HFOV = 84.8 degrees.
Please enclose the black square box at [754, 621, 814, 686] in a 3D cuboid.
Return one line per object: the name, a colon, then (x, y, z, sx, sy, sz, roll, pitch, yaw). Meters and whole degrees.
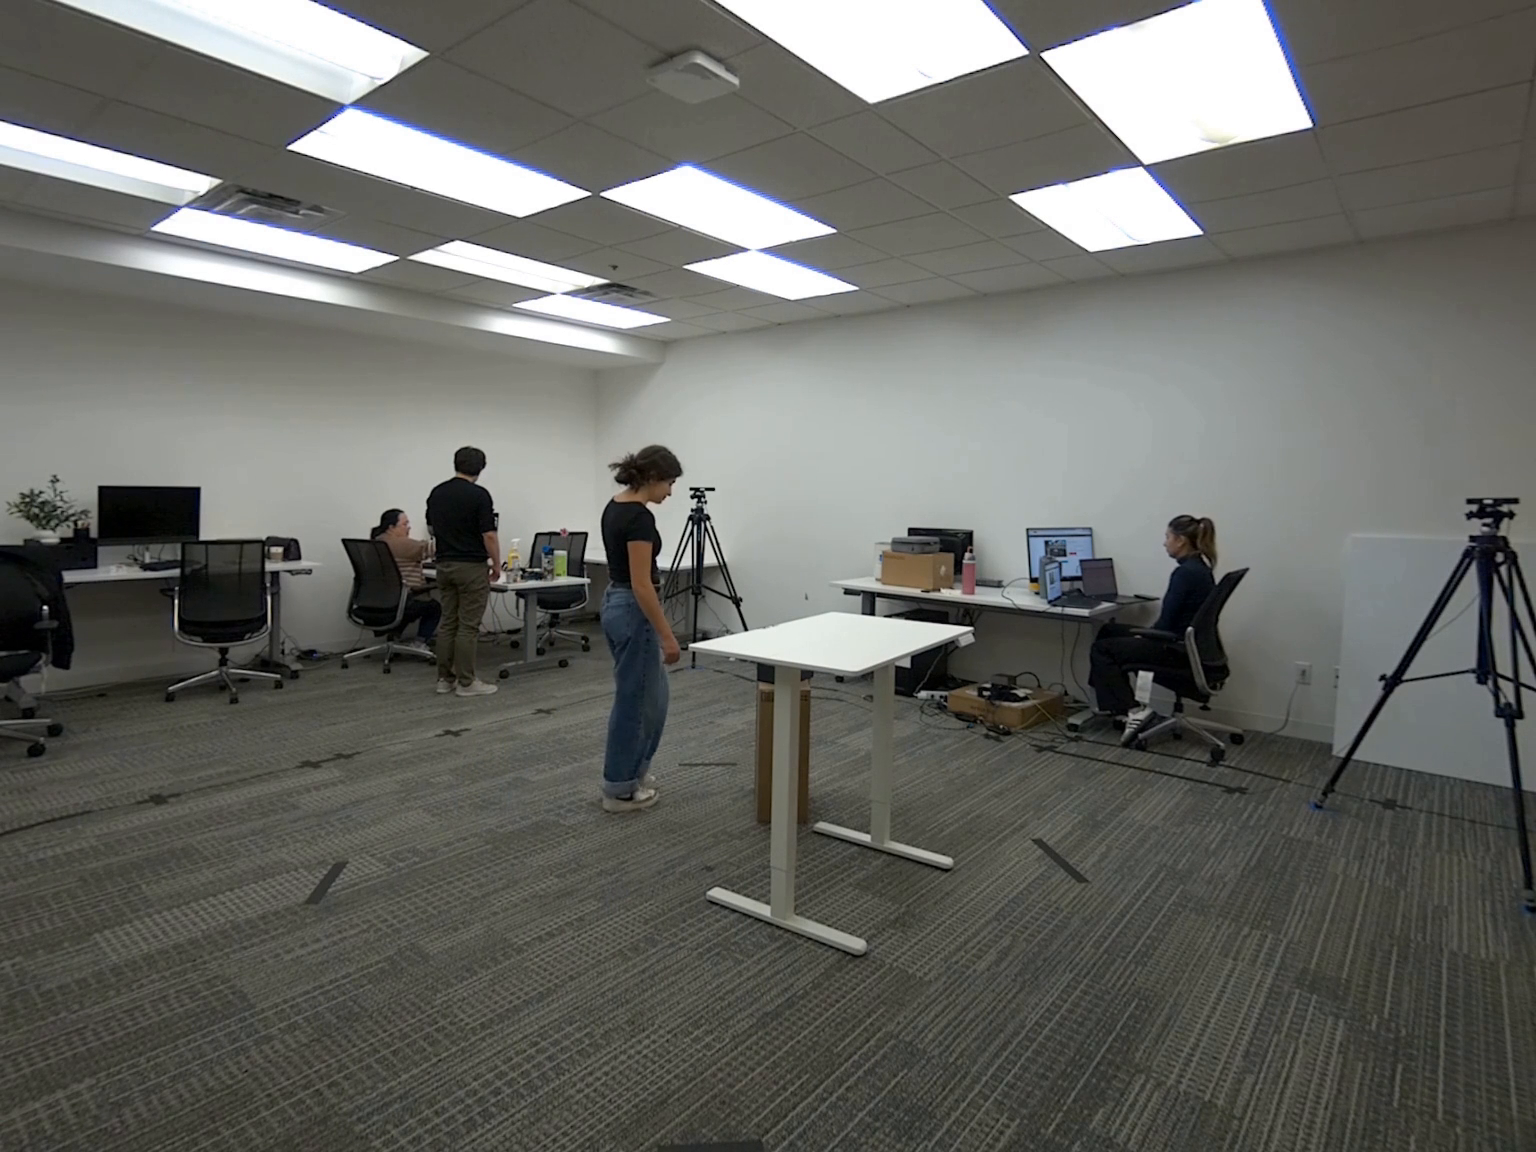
black square box: (0.067, 0.334, 3.693, 0.161, 0.227, 0.211, 5, 6, 38)
